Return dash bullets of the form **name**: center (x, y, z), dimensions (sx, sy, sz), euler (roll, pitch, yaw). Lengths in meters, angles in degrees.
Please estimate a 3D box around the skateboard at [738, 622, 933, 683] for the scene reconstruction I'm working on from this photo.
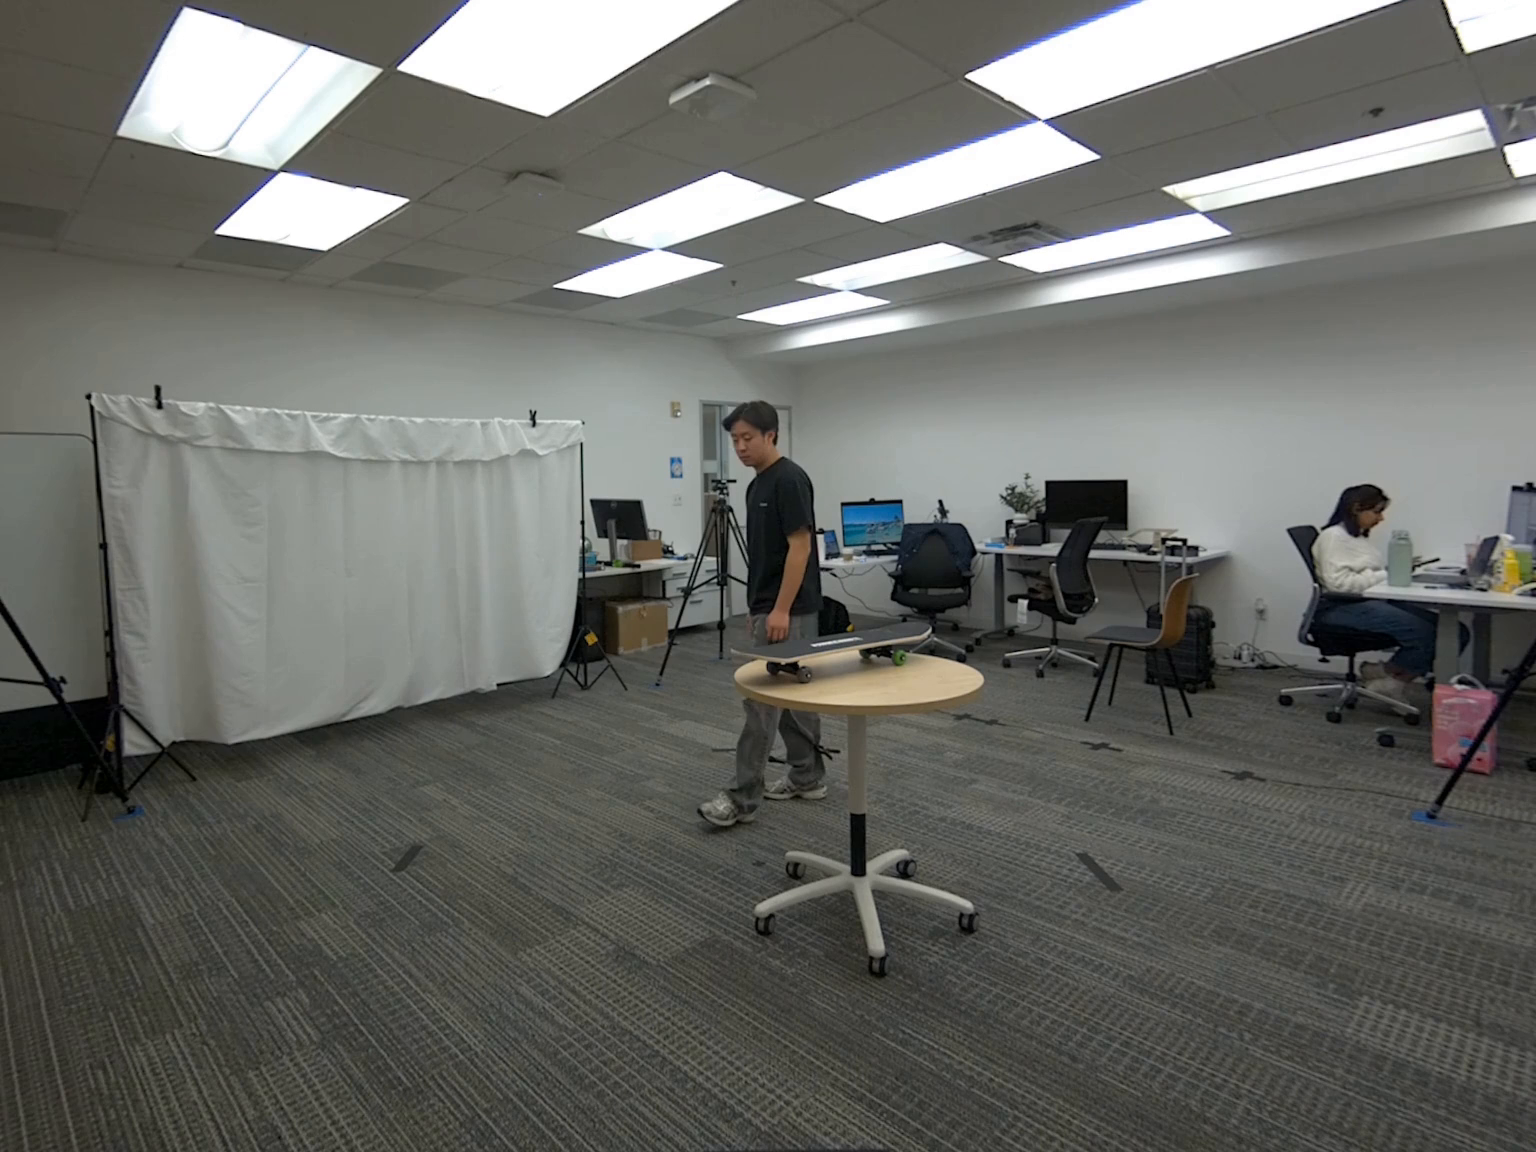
- **skateboard**: center (0.213, 0.253, 2.742), dimensions (0.766, 0.110, 0.198), euler (-5, 3, -34)
